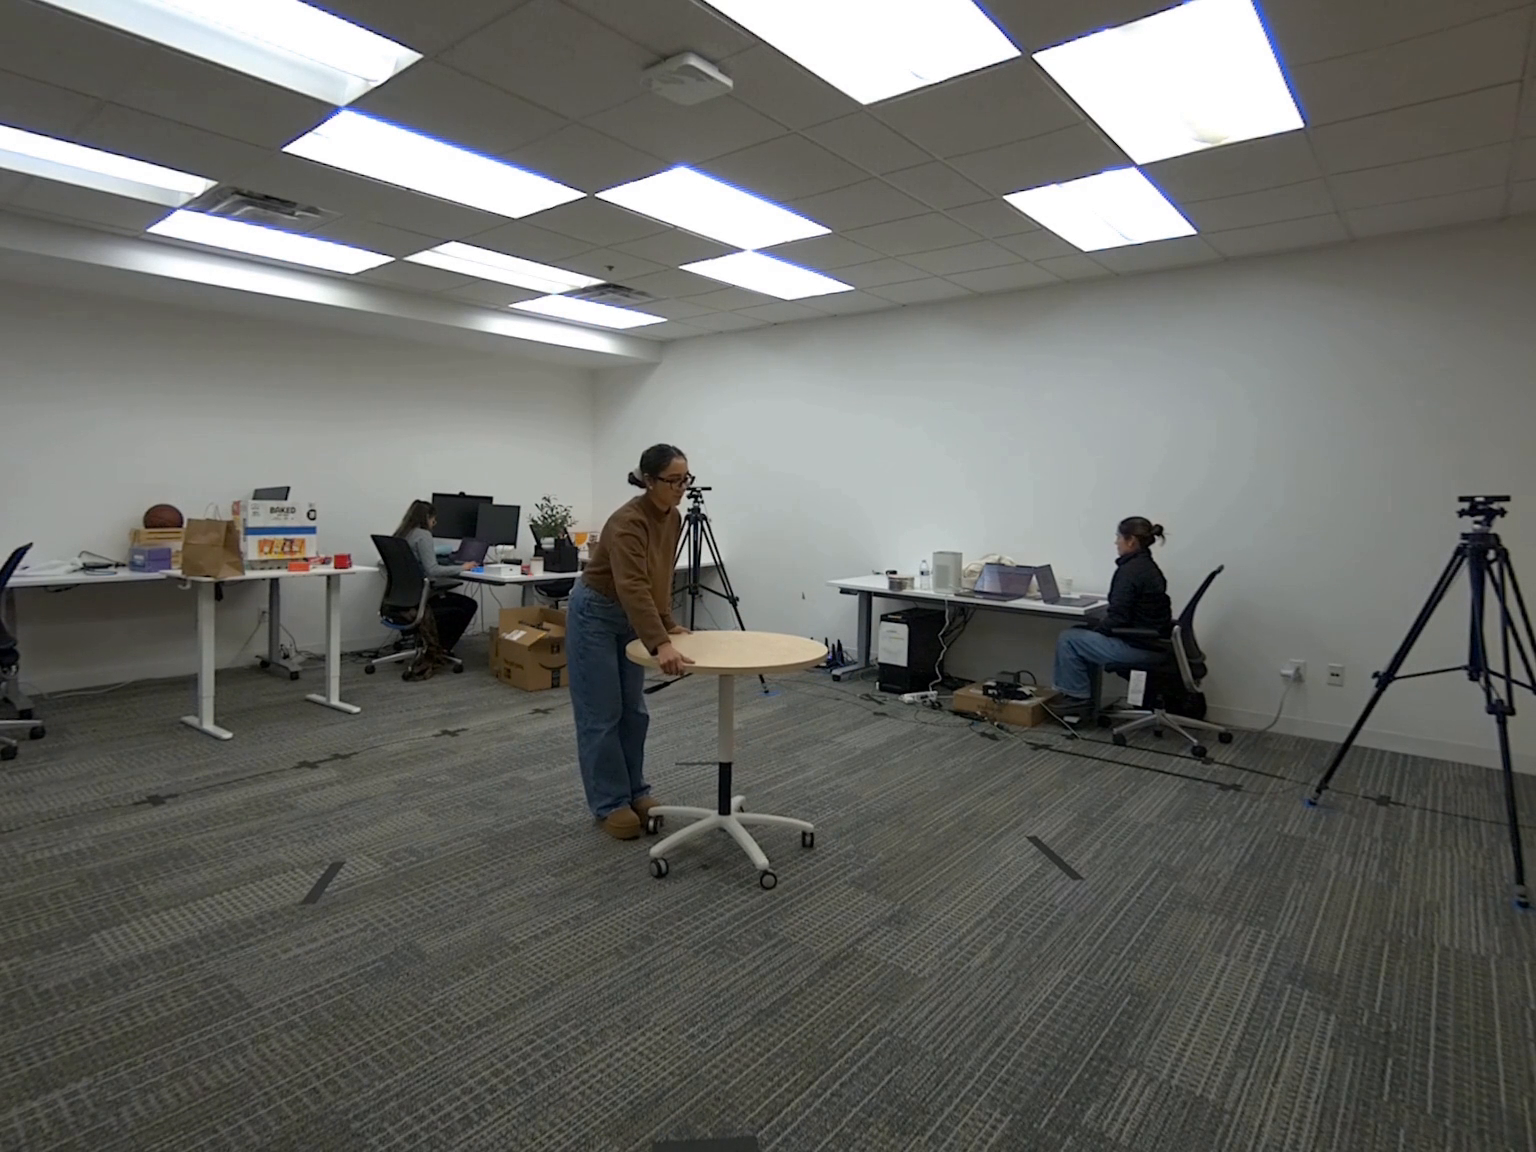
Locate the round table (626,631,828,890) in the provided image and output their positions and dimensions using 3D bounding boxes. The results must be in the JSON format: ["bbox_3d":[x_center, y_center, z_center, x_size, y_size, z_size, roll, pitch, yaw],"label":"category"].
[{"bbox_3d":[-0.162,0.664,3.250,0.763,0.791,0.768,1,4,-2],"label":"round table"}]
